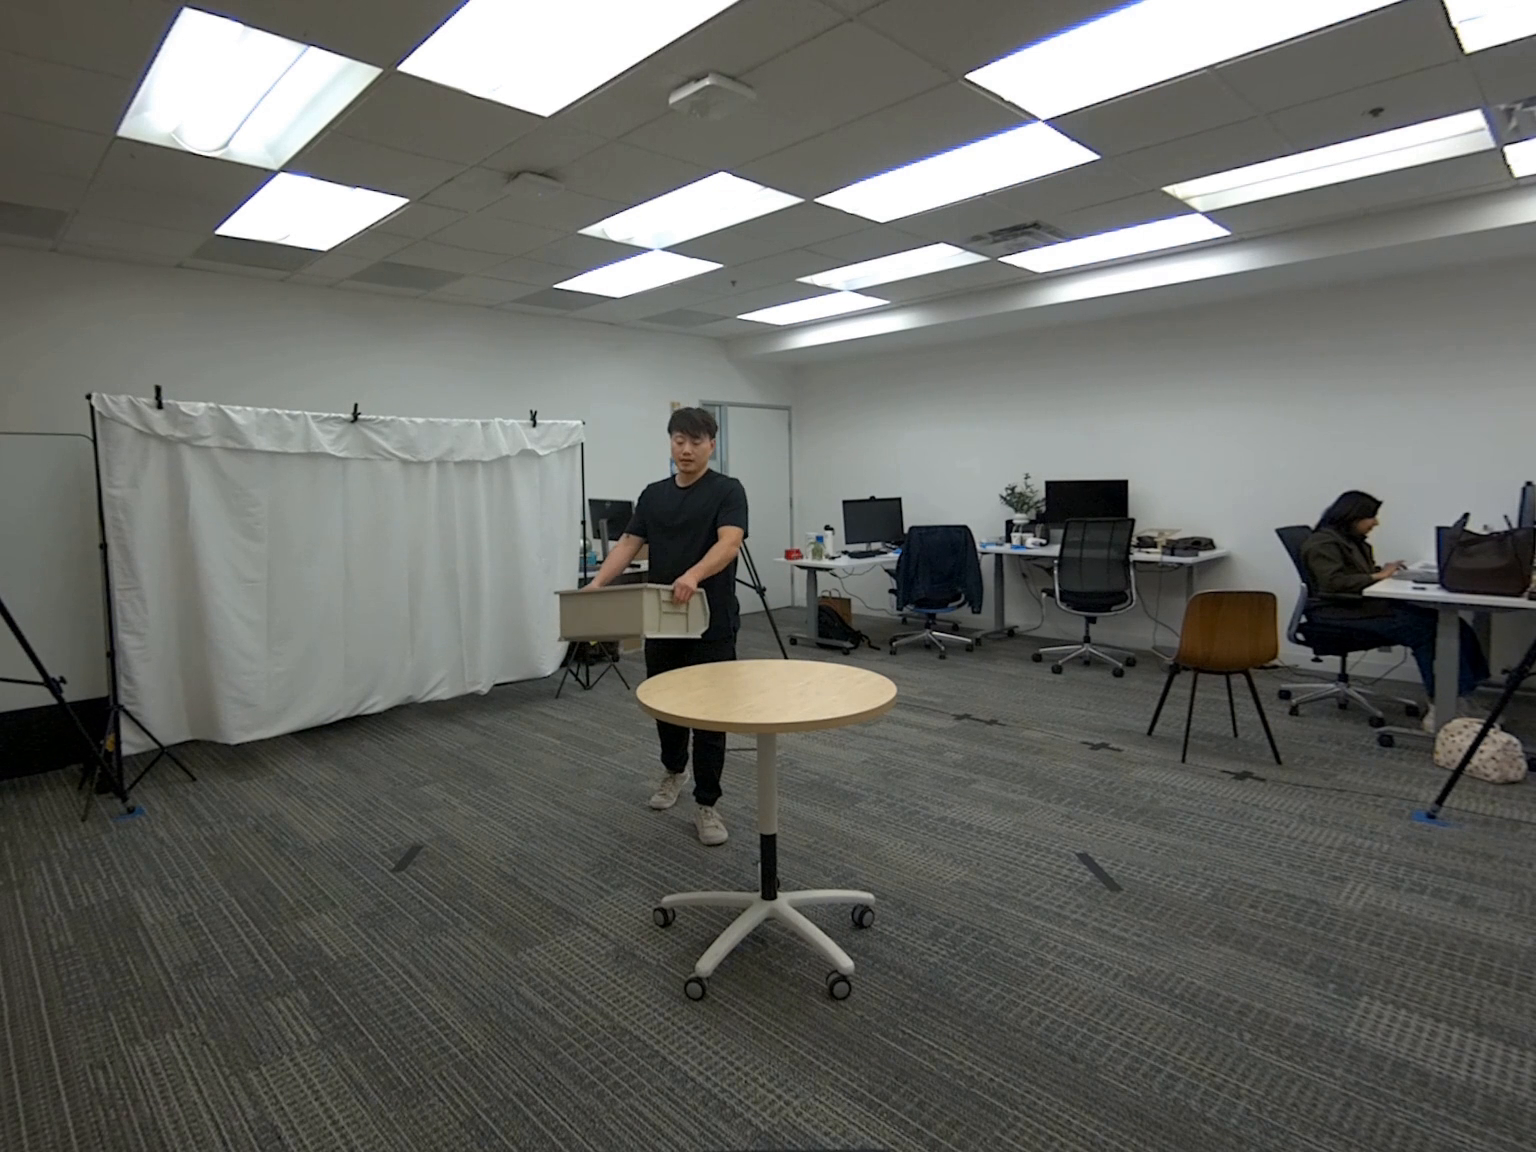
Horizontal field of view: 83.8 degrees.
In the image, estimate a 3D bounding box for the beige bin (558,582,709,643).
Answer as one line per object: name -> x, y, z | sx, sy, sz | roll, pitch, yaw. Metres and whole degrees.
beige bin -> -0.488, 0.145, 3.094 | 0.433, 0.190, 0.366 | -4, -4, 33
